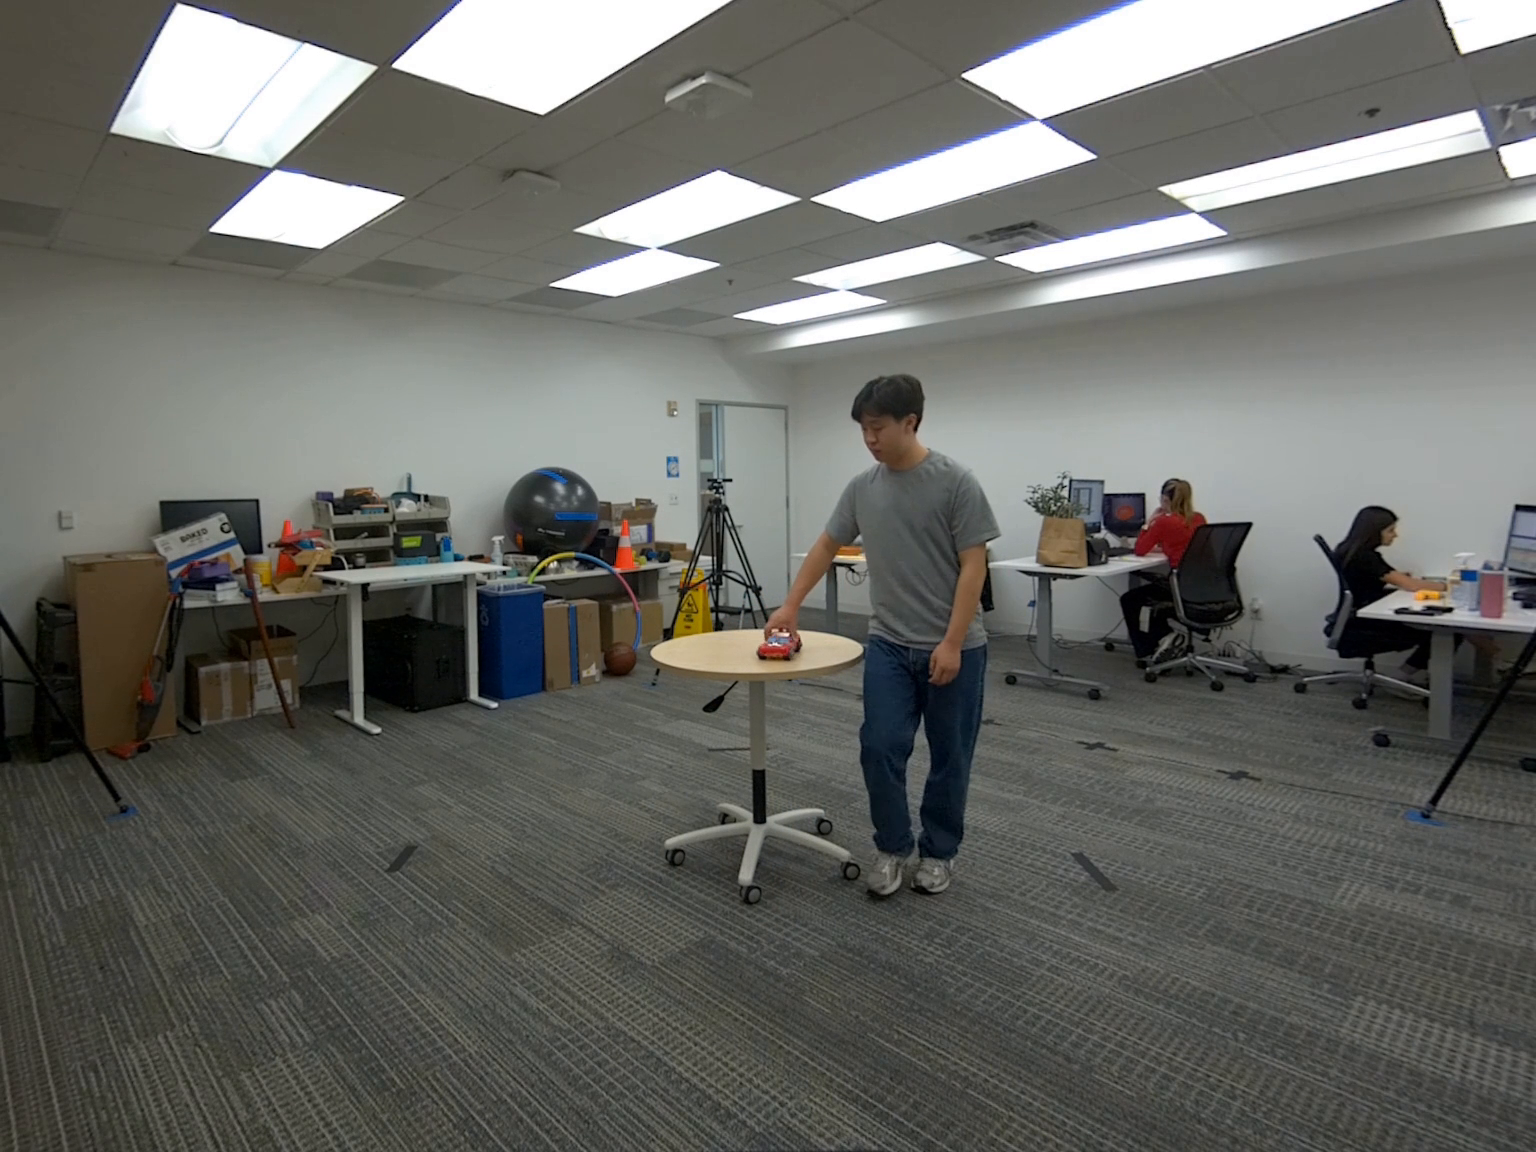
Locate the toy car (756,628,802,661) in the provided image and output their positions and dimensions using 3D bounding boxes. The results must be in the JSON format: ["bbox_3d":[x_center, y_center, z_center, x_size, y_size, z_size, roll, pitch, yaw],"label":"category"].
[{"bbox_3d":[0.049,0.240,3.002,0.132,0.082,0.255,0,18,12],"label":"toy car"}]
